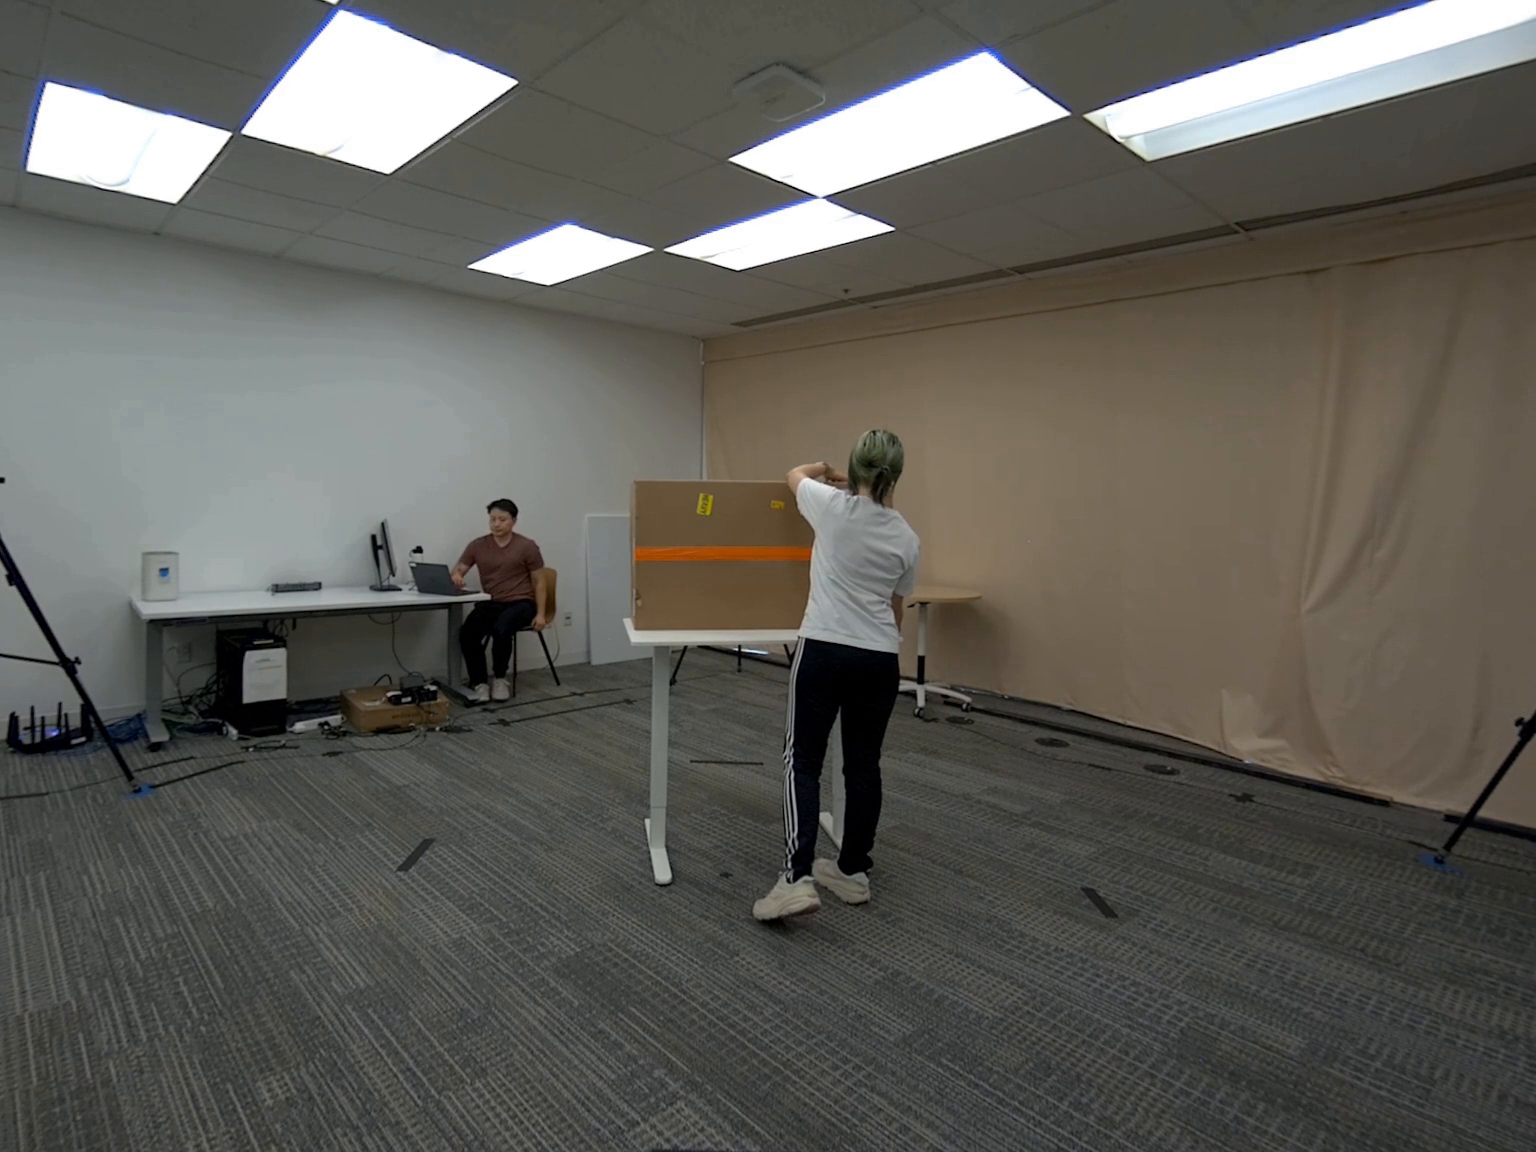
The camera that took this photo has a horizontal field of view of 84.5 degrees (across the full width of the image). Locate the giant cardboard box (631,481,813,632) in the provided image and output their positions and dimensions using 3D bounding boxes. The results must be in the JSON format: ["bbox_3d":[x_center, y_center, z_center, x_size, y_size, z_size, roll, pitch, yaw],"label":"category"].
[{"bbox_3d":[-0.061,-0.096,3.465,1.018,0.583,0.451,0,3,-10],"label":"giant cardboard box"}]
